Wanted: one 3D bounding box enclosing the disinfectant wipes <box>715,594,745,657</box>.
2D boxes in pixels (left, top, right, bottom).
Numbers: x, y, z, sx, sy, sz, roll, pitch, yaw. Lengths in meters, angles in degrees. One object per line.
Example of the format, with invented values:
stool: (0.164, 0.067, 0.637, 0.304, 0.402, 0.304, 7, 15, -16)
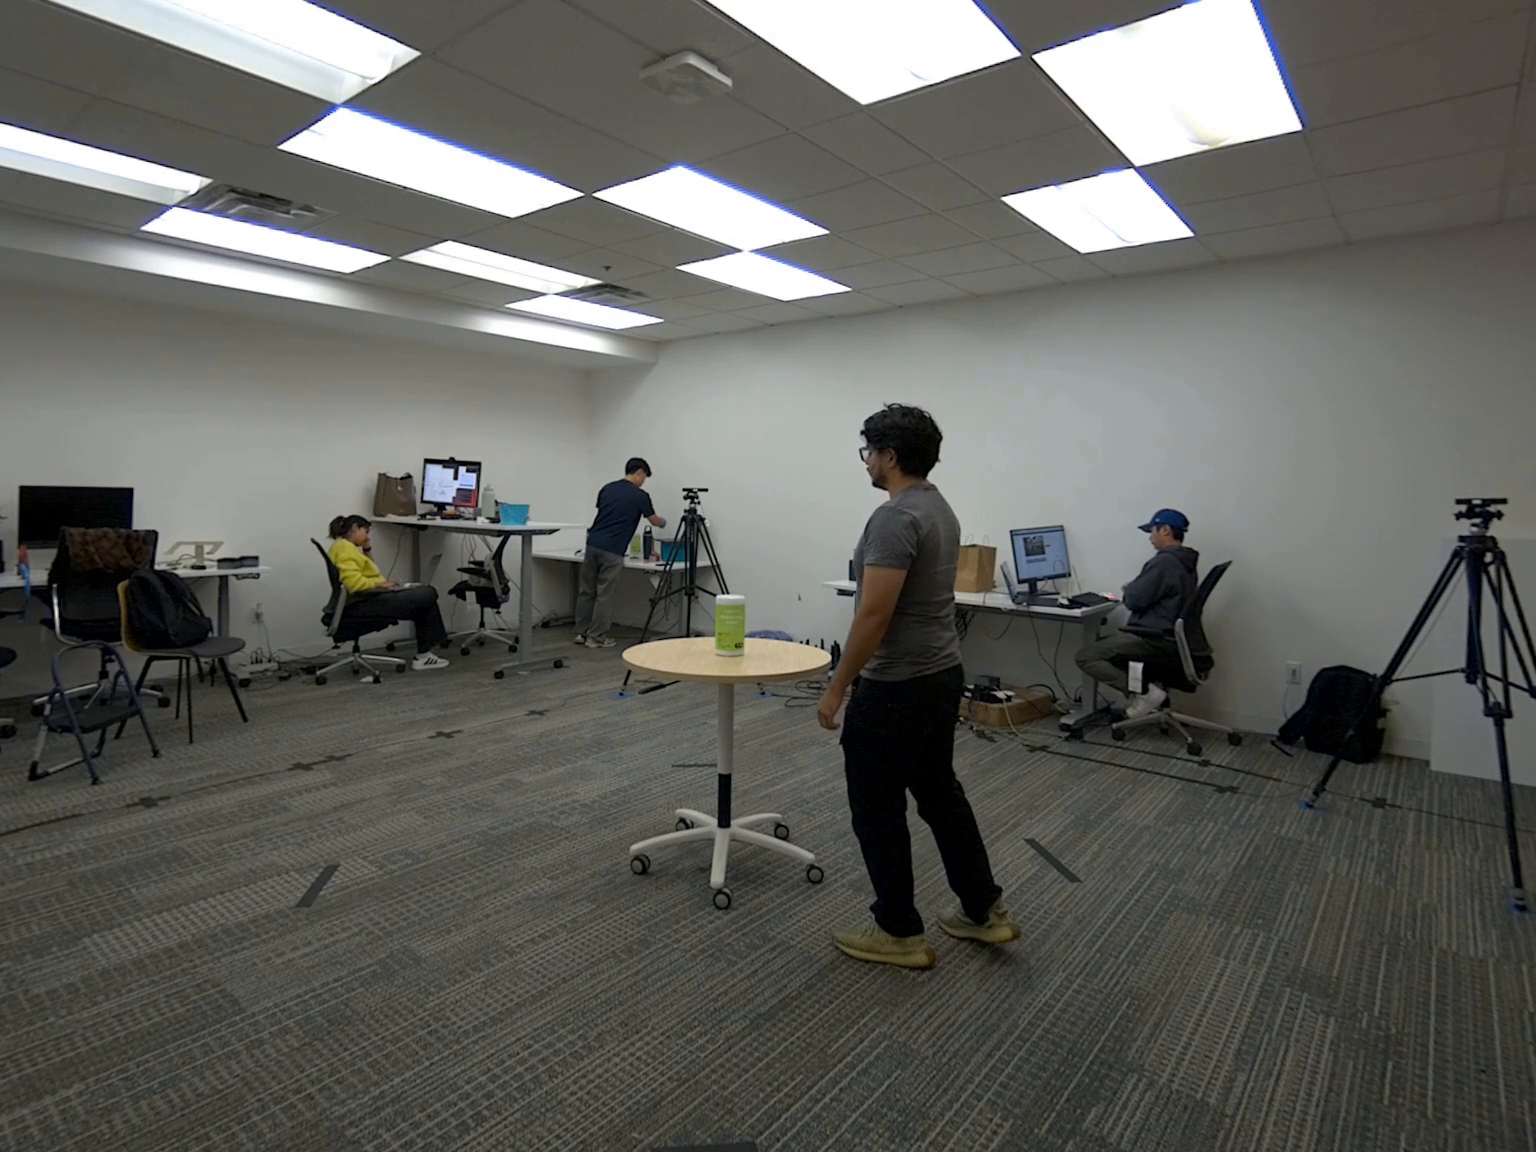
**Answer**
disinfectant wipes: (-0.153, 0.180, 3.129, 0.118, 0.217, 0.118, 1, 4, -2)
